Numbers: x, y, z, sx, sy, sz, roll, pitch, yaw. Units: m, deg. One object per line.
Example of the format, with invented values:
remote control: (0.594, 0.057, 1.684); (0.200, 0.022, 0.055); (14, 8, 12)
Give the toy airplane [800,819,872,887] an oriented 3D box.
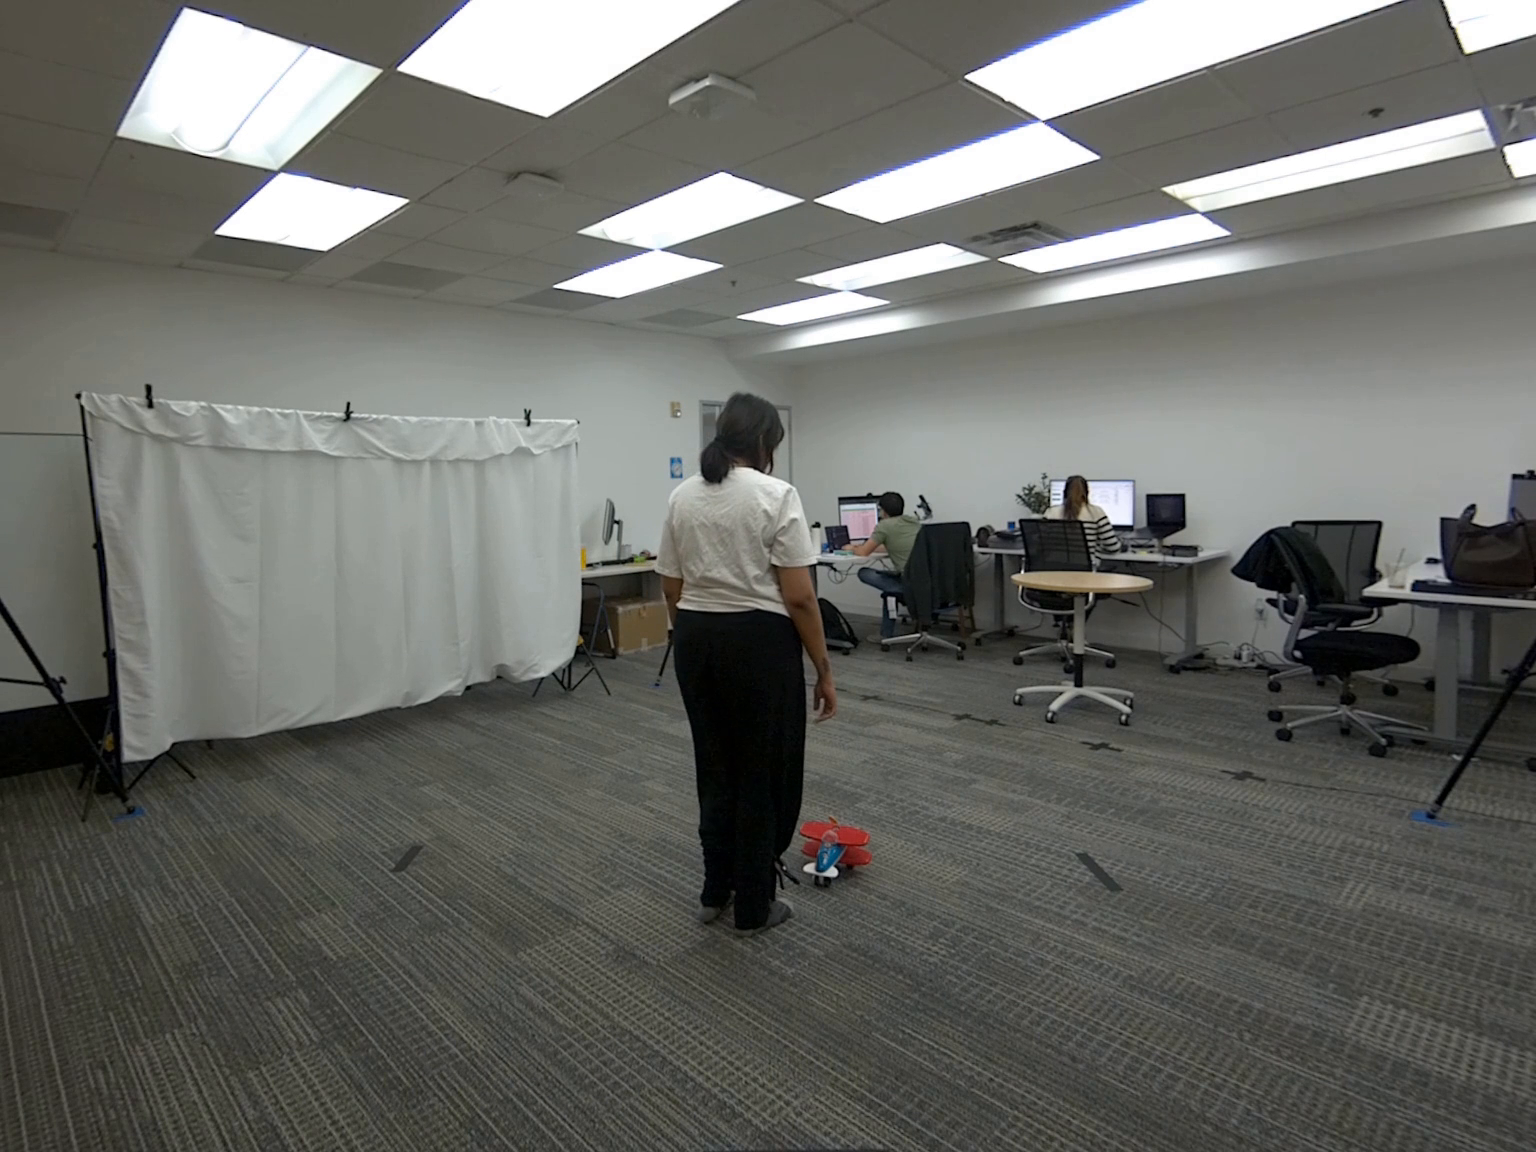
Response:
toy airplane: (0.245, 0.977, 3.002); (0.251, 0.156, 0.260); (-1, 4, -2)
